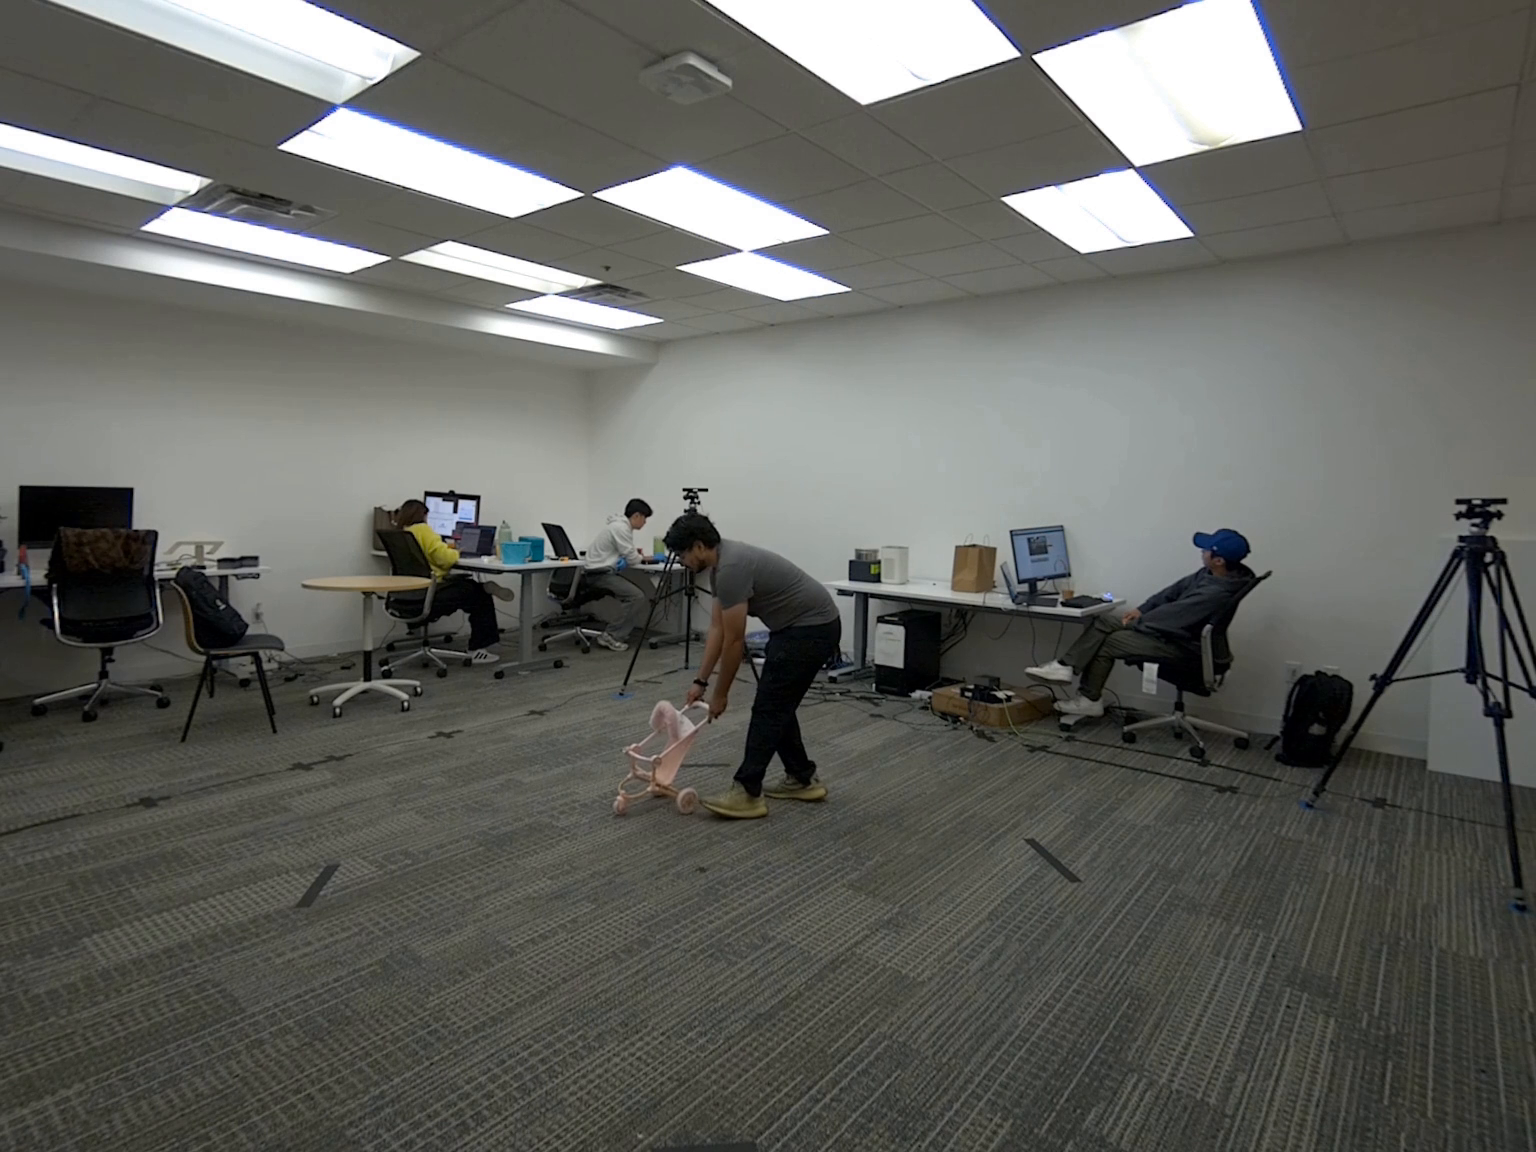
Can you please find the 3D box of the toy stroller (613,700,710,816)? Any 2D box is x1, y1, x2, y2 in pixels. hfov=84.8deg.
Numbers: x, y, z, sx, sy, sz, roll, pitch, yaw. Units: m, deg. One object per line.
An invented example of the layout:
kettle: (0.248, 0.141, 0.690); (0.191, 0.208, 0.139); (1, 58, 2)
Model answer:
toy stroller: (-0.485, 0.781, 3.708); (0.330, 0.537, 0.290); (17, -5, -29)
